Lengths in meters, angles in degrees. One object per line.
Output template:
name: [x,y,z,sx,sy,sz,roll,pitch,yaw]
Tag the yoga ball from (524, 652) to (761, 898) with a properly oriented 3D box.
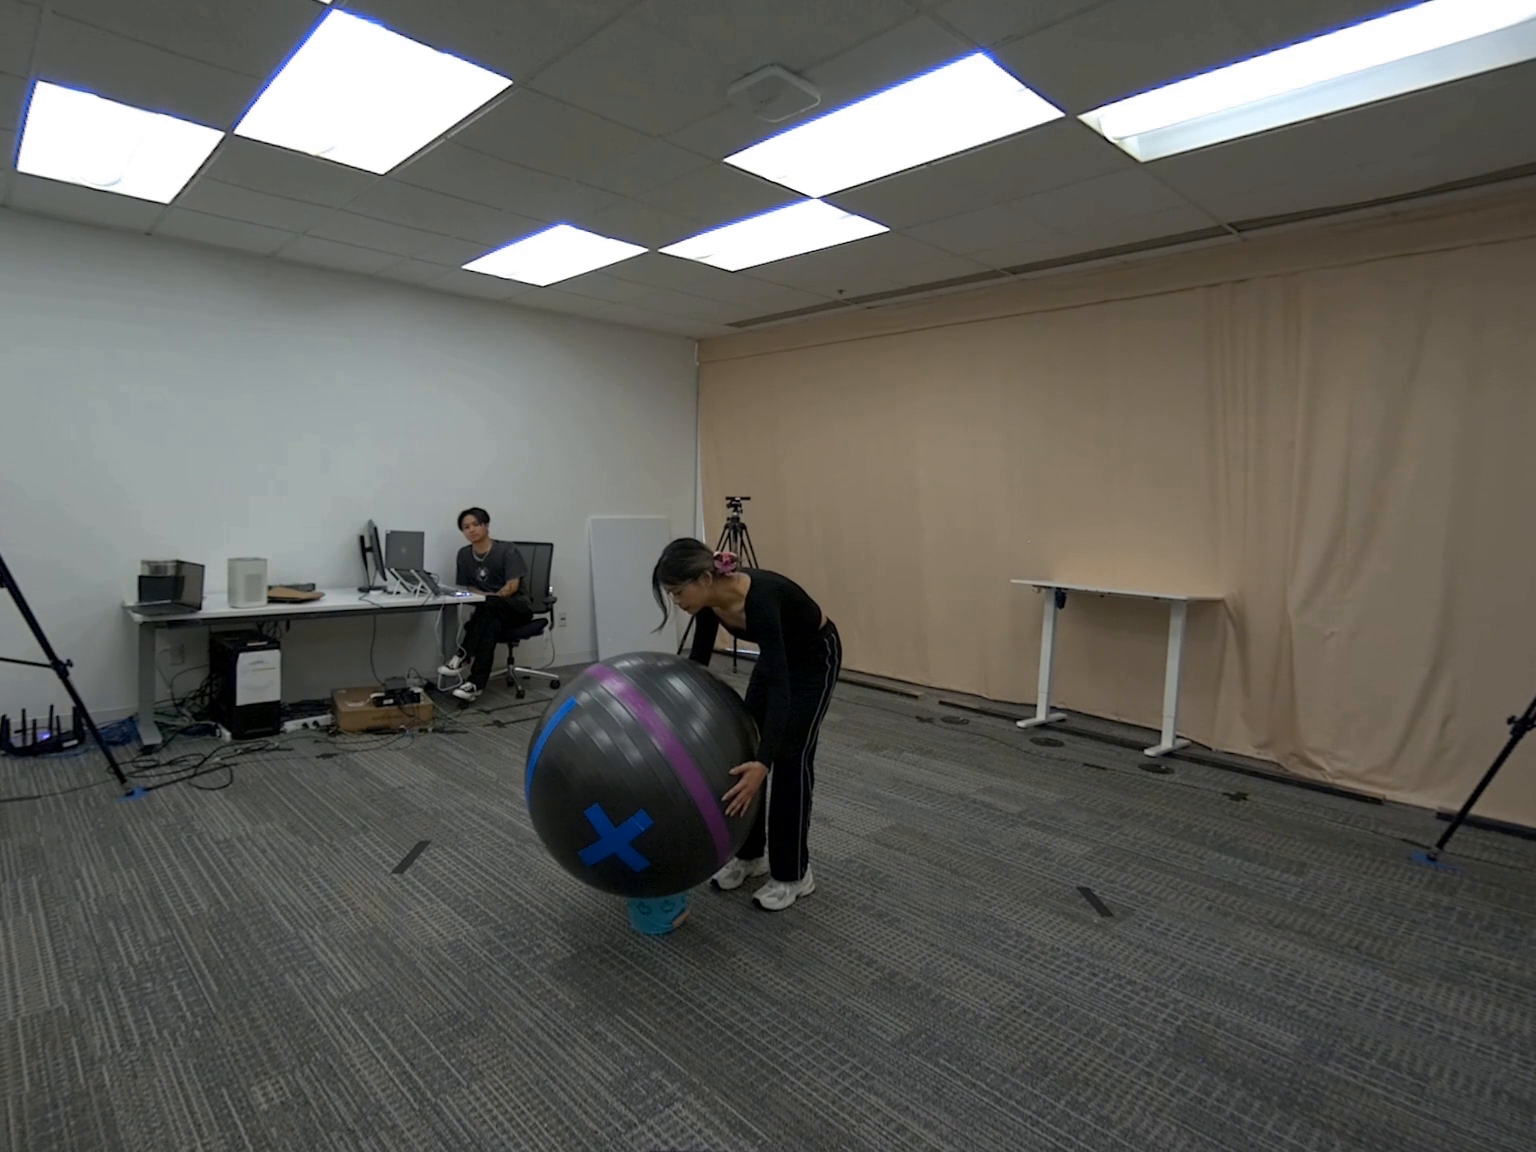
yoga ball: [-0.396,0.632,2.680,0.757,0.756,0.761,1,4,-1]
